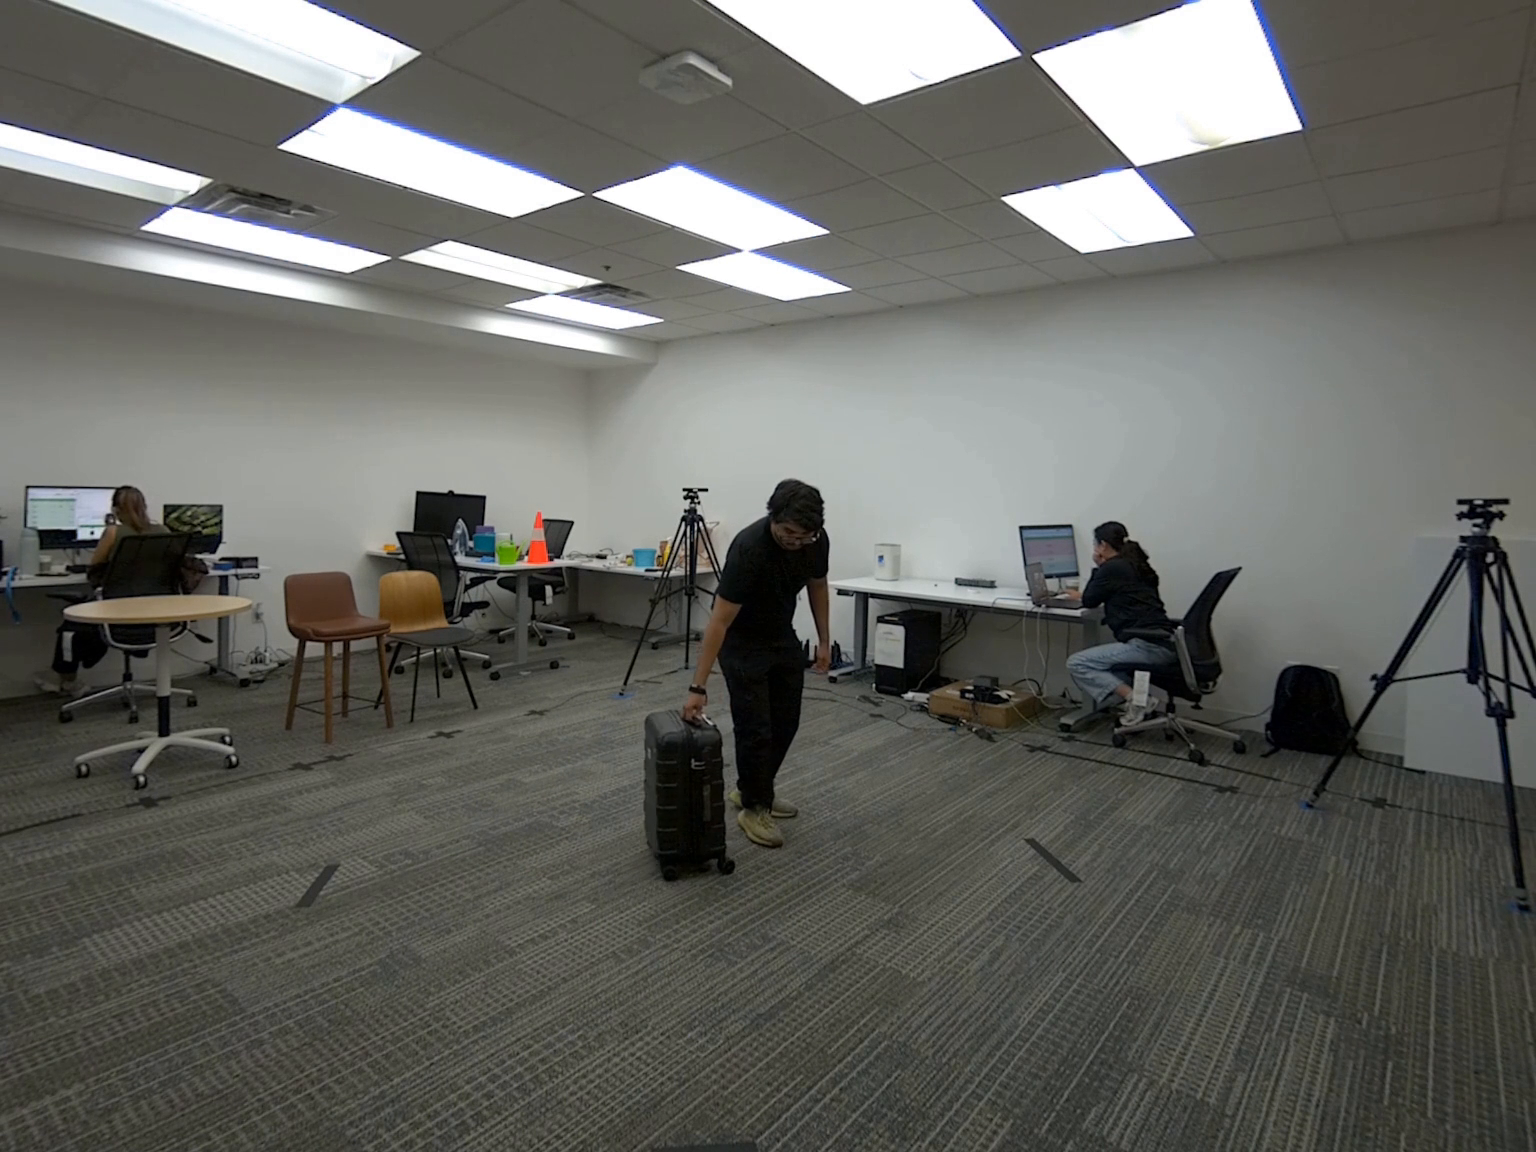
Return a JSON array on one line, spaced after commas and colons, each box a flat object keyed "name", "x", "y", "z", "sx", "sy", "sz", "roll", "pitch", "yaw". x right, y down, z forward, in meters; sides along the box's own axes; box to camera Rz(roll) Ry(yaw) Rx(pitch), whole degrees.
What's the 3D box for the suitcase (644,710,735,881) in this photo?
[{"name": "suitcase", "x": -0.331, "y": 0.788, "z": 3.177, "sx": 0.244, "sy": 0.547, "sz": 0.383, "roll": -2, "pitch": 4, "yaw": -17}]
